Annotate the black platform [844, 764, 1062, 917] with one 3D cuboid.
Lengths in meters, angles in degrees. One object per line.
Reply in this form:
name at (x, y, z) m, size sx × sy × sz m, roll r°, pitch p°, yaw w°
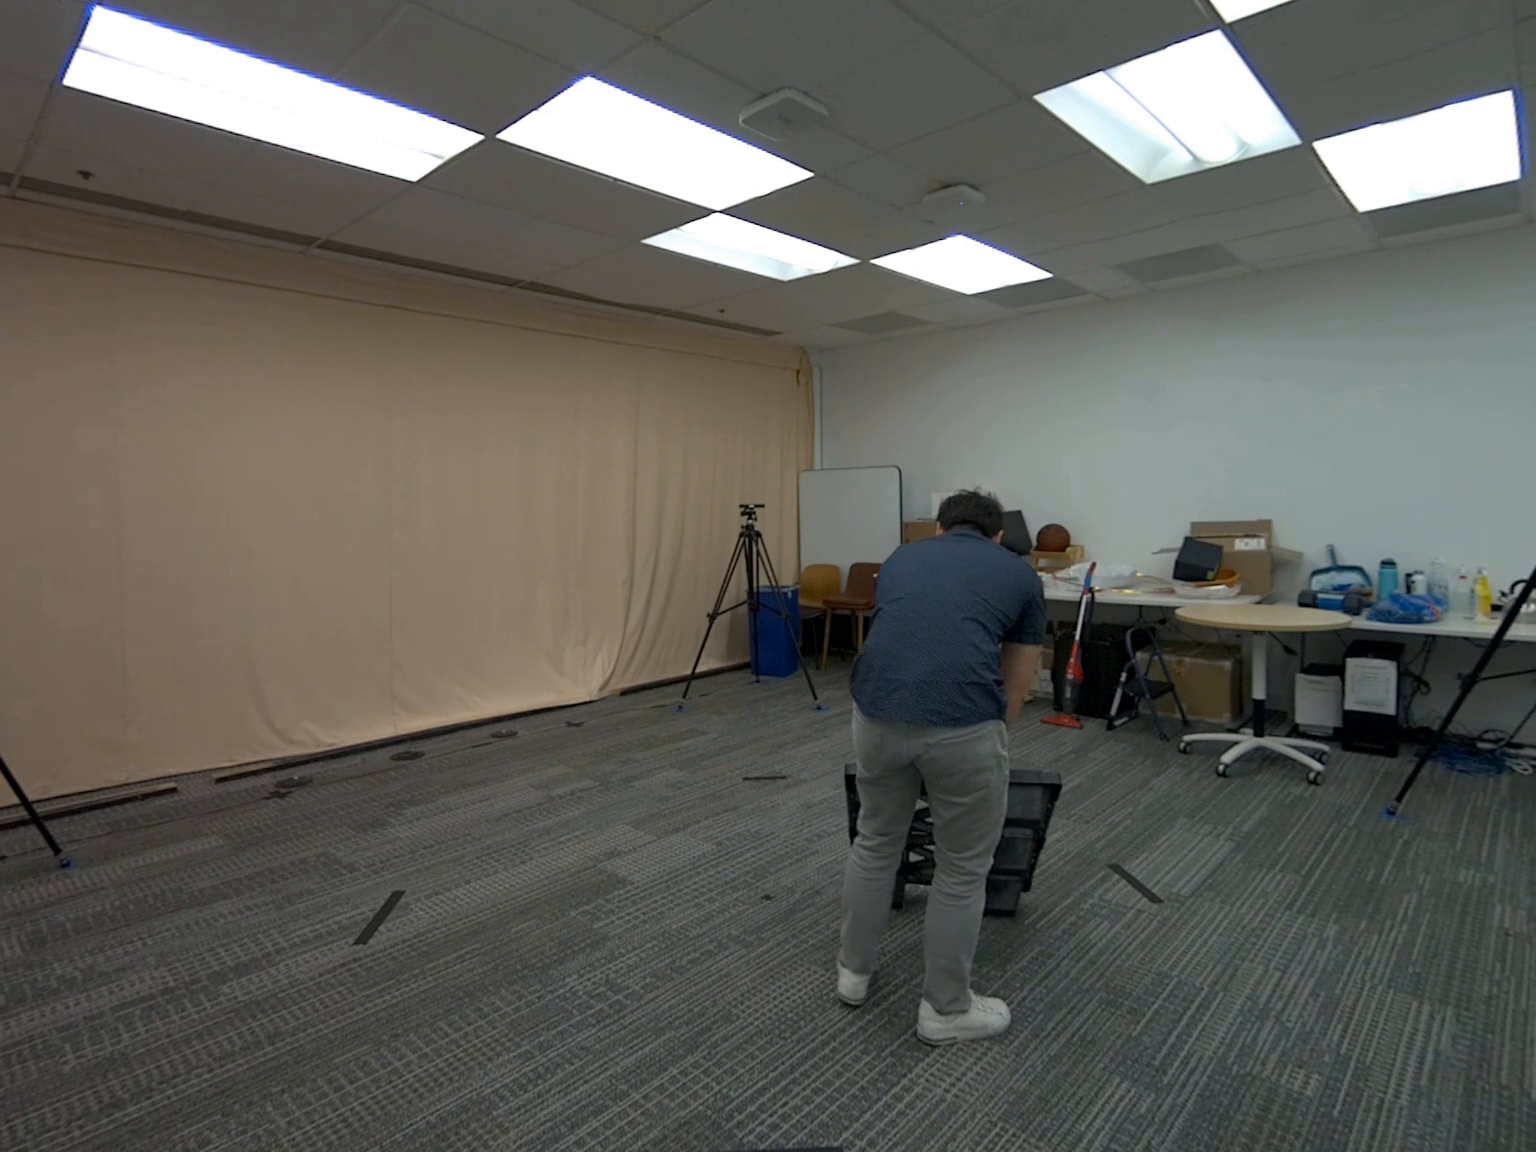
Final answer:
black platform at (0.555, 0.849, 2.640) m, size 0.612 × 0.786 × 0.145 m, roll 0°, pitch 48°, yaw 10°
